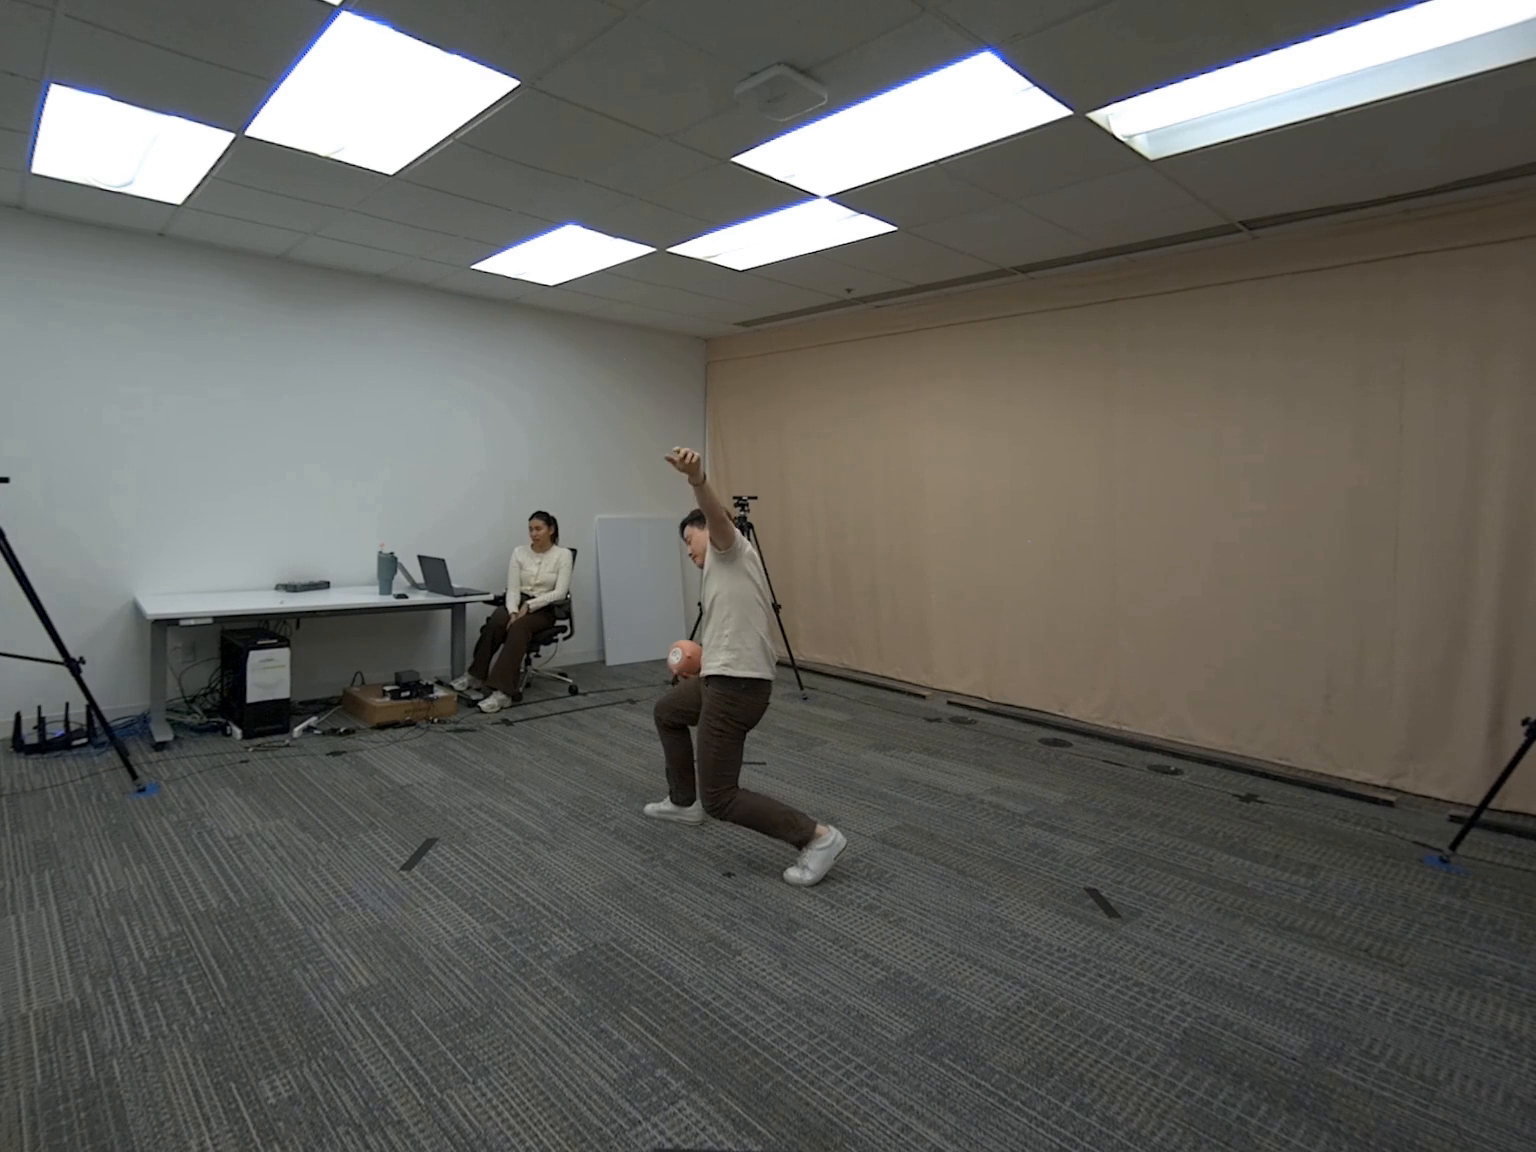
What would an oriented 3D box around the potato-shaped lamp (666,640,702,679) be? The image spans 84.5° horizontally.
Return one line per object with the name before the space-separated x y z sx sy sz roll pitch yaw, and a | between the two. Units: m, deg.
potato-shaped lamp | -0.364 0.385 3.884 0.192 0.164 0.177 23 21 -46
